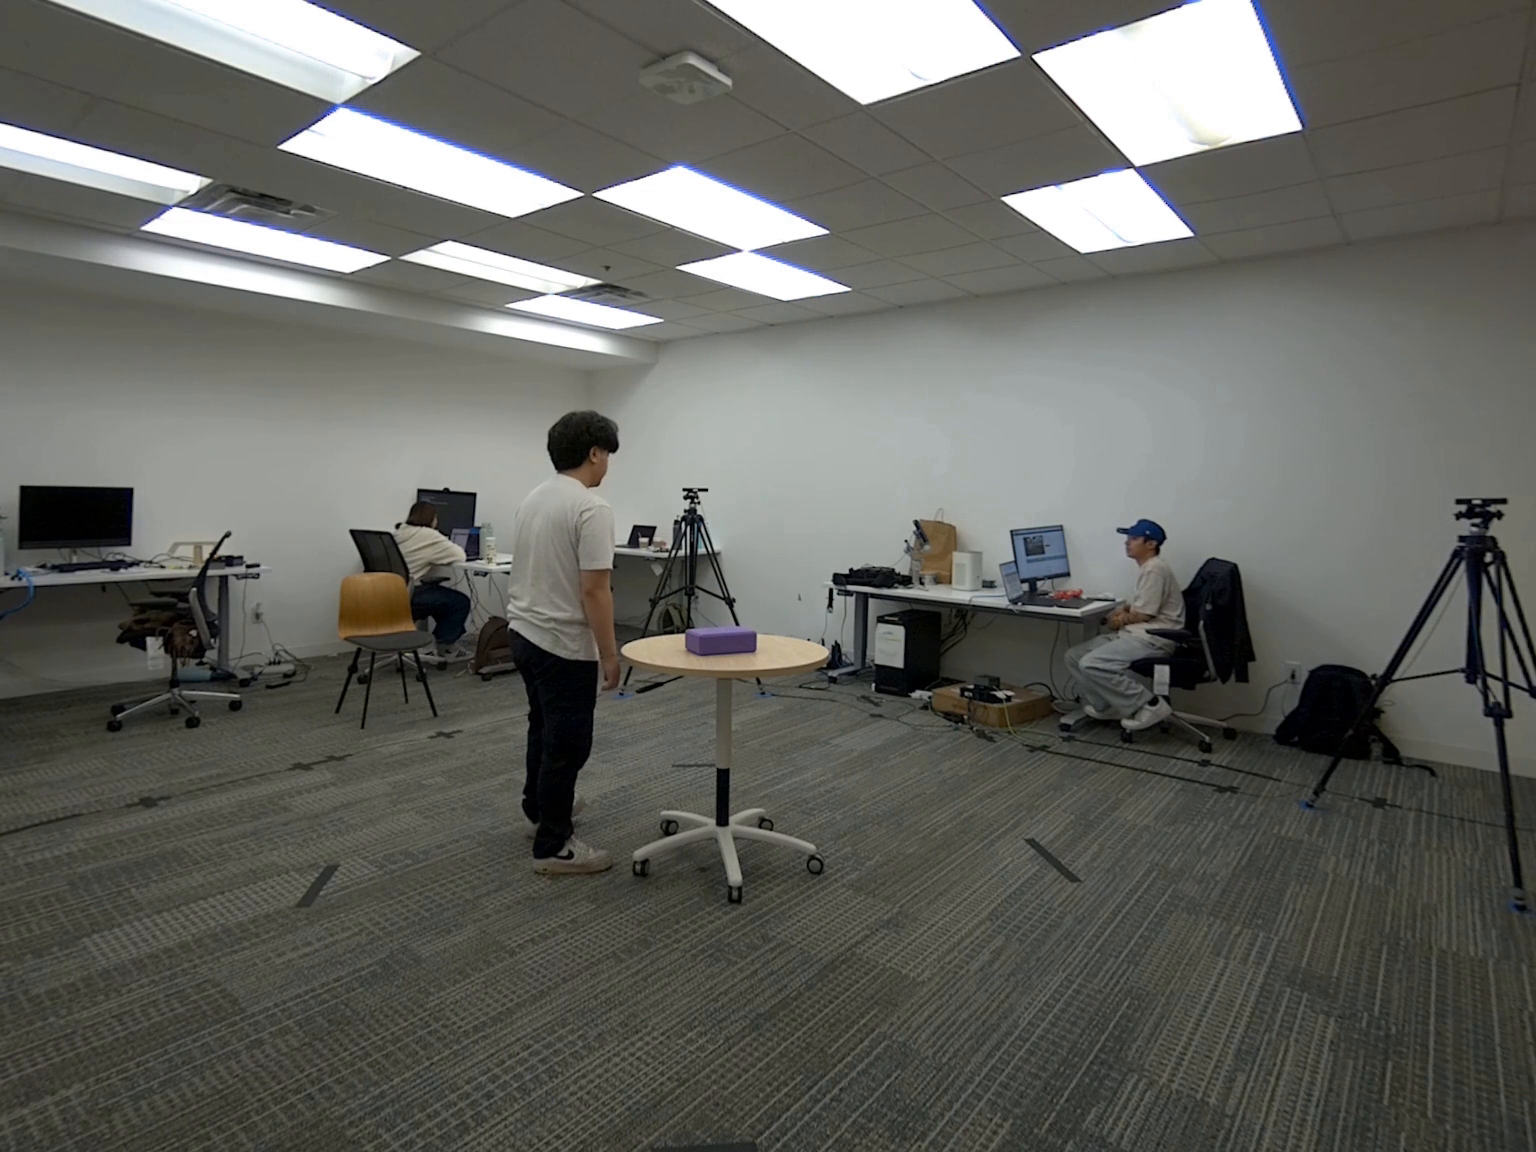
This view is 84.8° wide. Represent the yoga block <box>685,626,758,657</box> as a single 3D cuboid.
[{"bbox_3d":[-0.181,0.237,3.103,0.224,0.076,0.153,-2,5,-25],"label":"yoga block"}]
